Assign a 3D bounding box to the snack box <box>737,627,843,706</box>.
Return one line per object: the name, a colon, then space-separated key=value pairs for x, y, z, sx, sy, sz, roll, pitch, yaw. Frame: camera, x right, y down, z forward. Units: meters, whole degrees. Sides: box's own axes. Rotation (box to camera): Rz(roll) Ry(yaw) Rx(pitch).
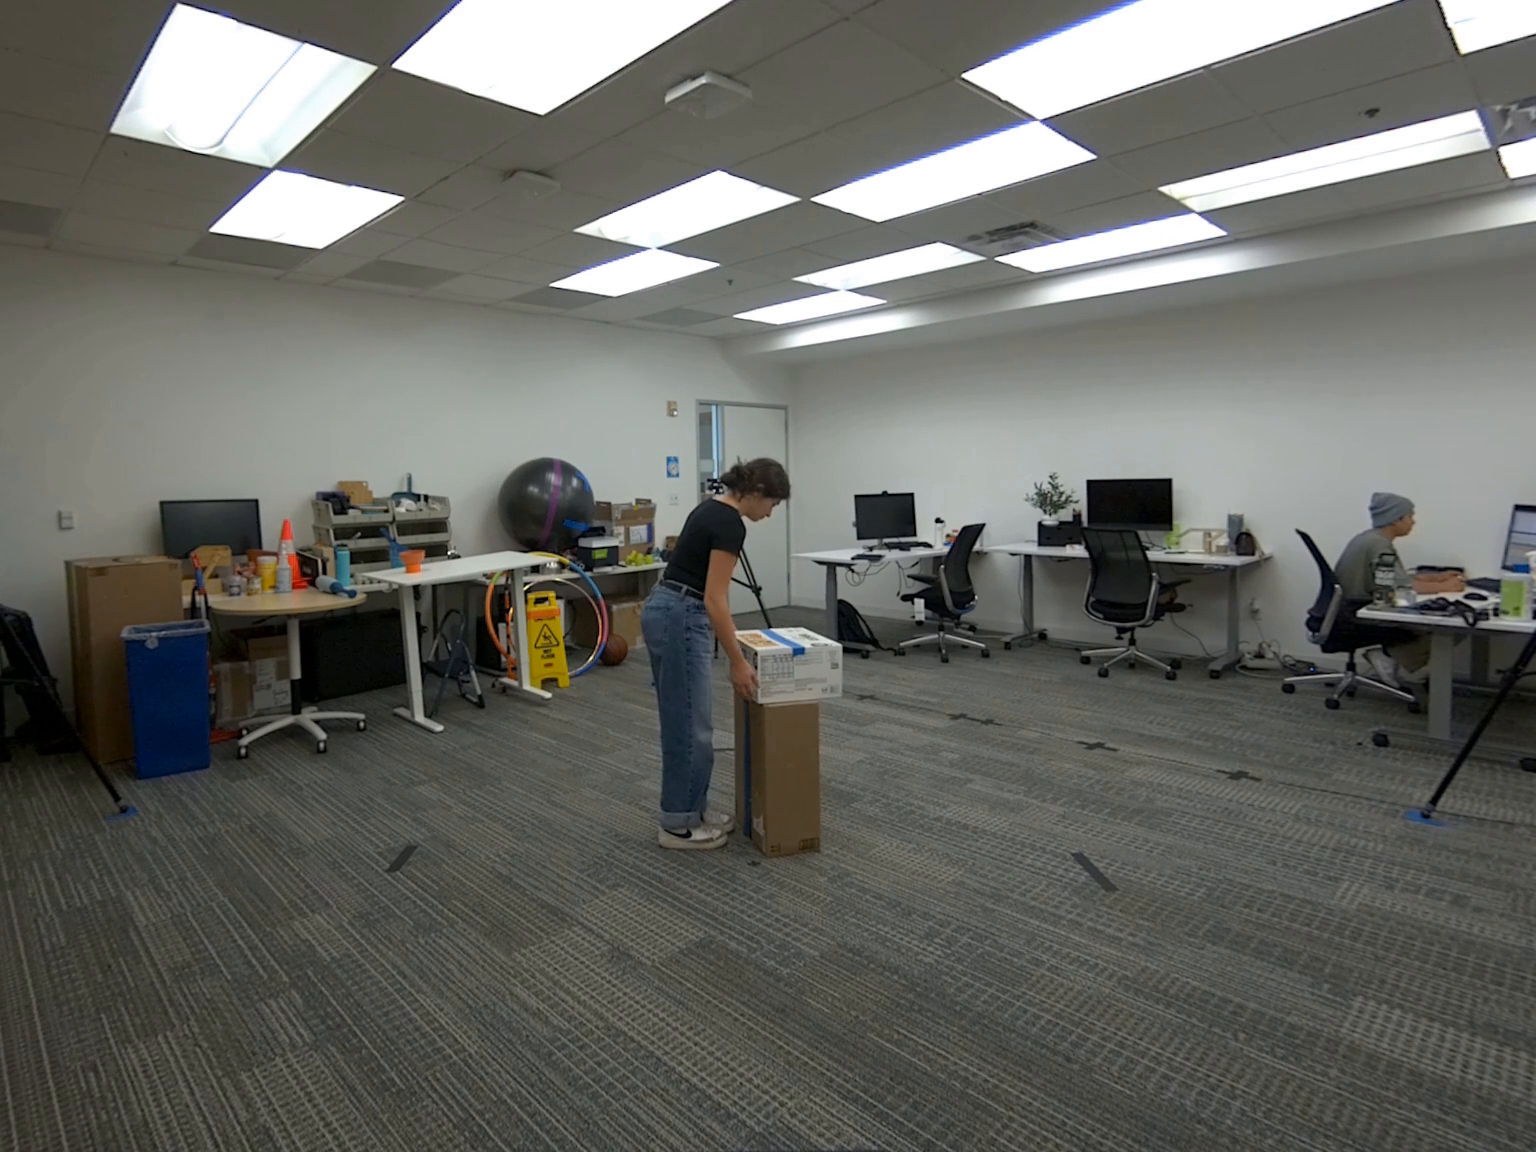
snack box: x=0.052 y=0.344 z=3.368 sx=0.335 sy=0.205 sz=0.414 roll=-3 pitch=6 yaw=-18
